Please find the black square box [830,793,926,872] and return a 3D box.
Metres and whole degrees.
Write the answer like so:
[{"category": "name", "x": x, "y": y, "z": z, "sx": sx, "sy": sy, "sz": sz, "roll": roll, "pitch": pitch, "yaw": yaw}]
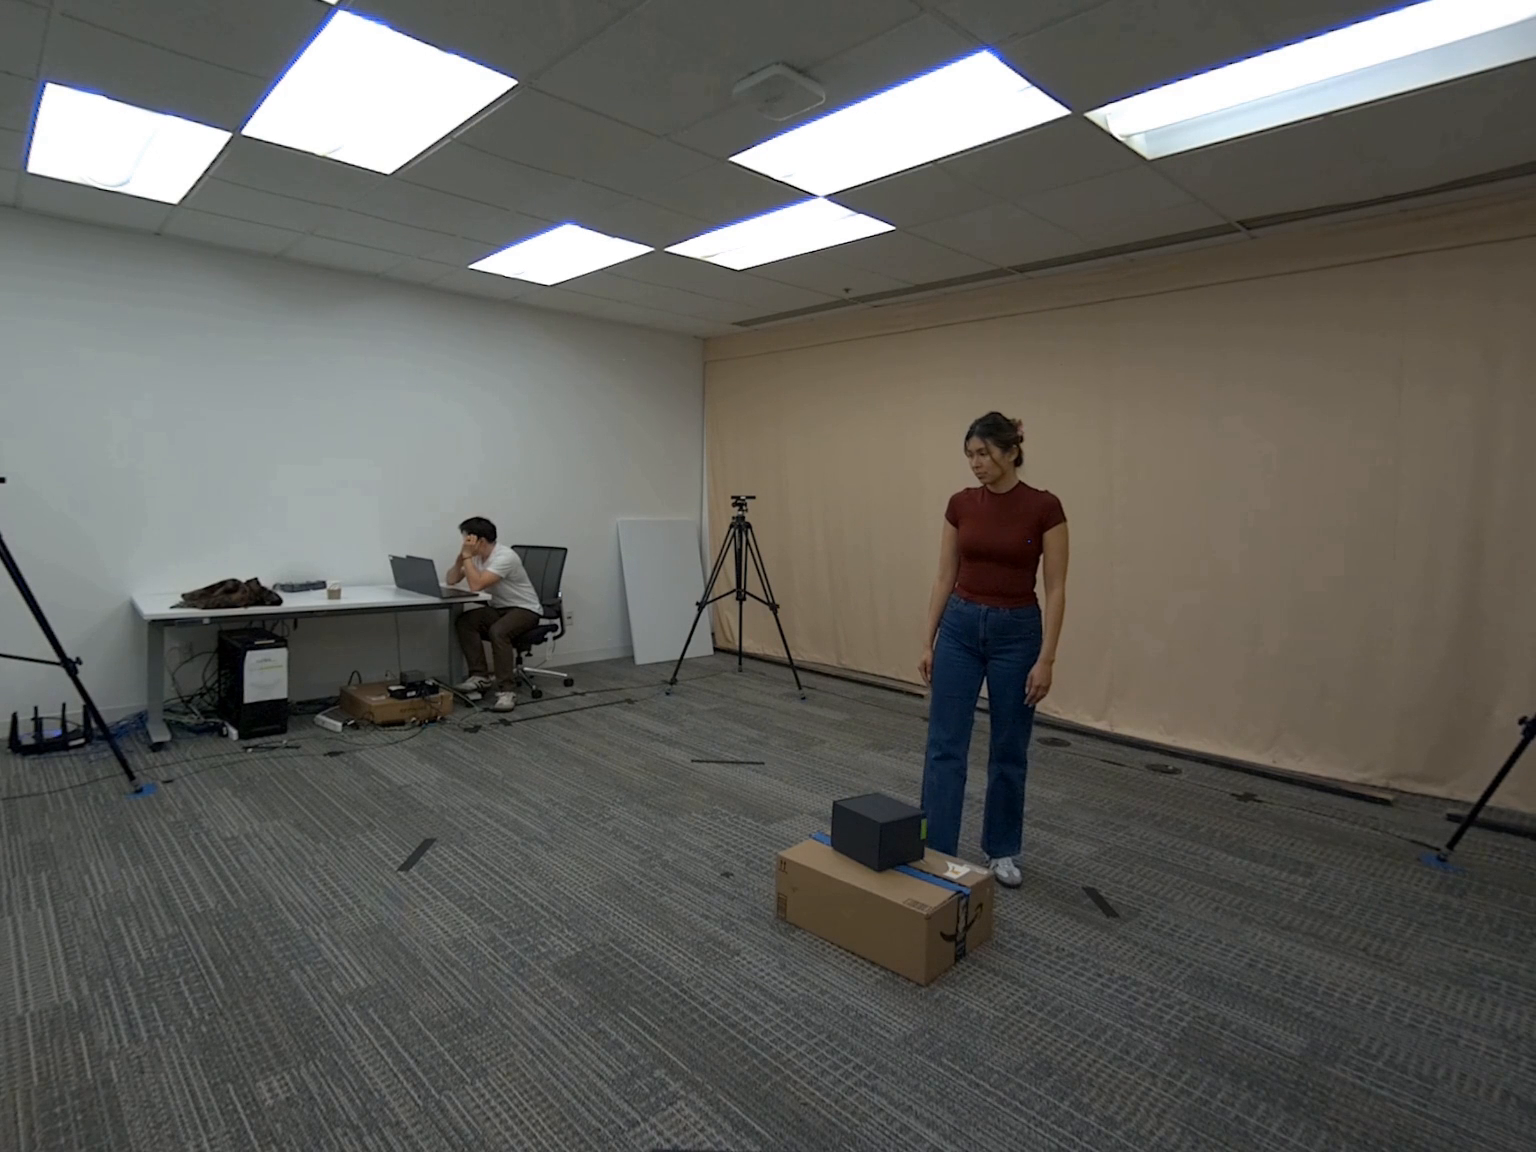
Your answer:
[{"category": "black square box", "x": 0.362, "y": 0.842, "z": 2.794, "sx": 0.212, "sy": 0.155, "sz": 0.233, "roll": 1, "pitch": 4, "yaw": -37}]
